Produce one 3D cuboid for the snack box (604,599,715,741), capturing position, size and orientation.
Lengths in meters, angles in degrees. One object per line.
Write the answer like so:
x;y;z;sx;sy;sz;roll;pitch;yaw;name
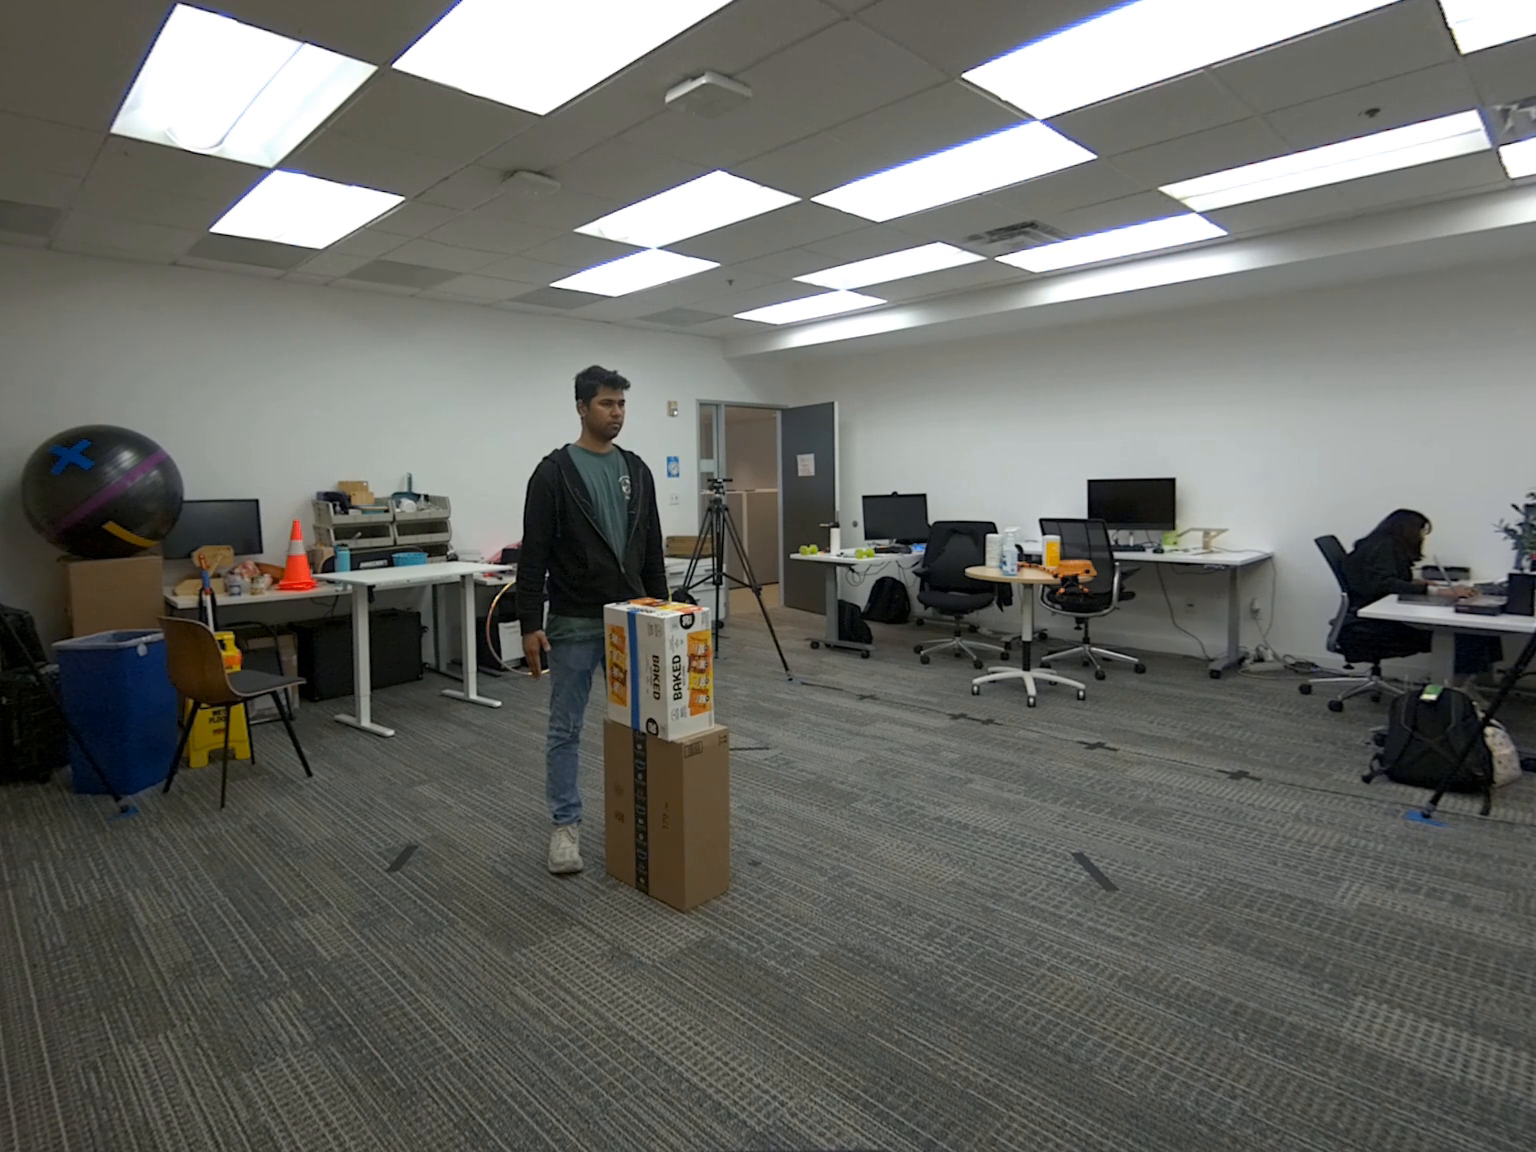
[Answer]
-0.370;0.304;2.909;0.200;0.403;0.351;-7;8;-43;snack box
